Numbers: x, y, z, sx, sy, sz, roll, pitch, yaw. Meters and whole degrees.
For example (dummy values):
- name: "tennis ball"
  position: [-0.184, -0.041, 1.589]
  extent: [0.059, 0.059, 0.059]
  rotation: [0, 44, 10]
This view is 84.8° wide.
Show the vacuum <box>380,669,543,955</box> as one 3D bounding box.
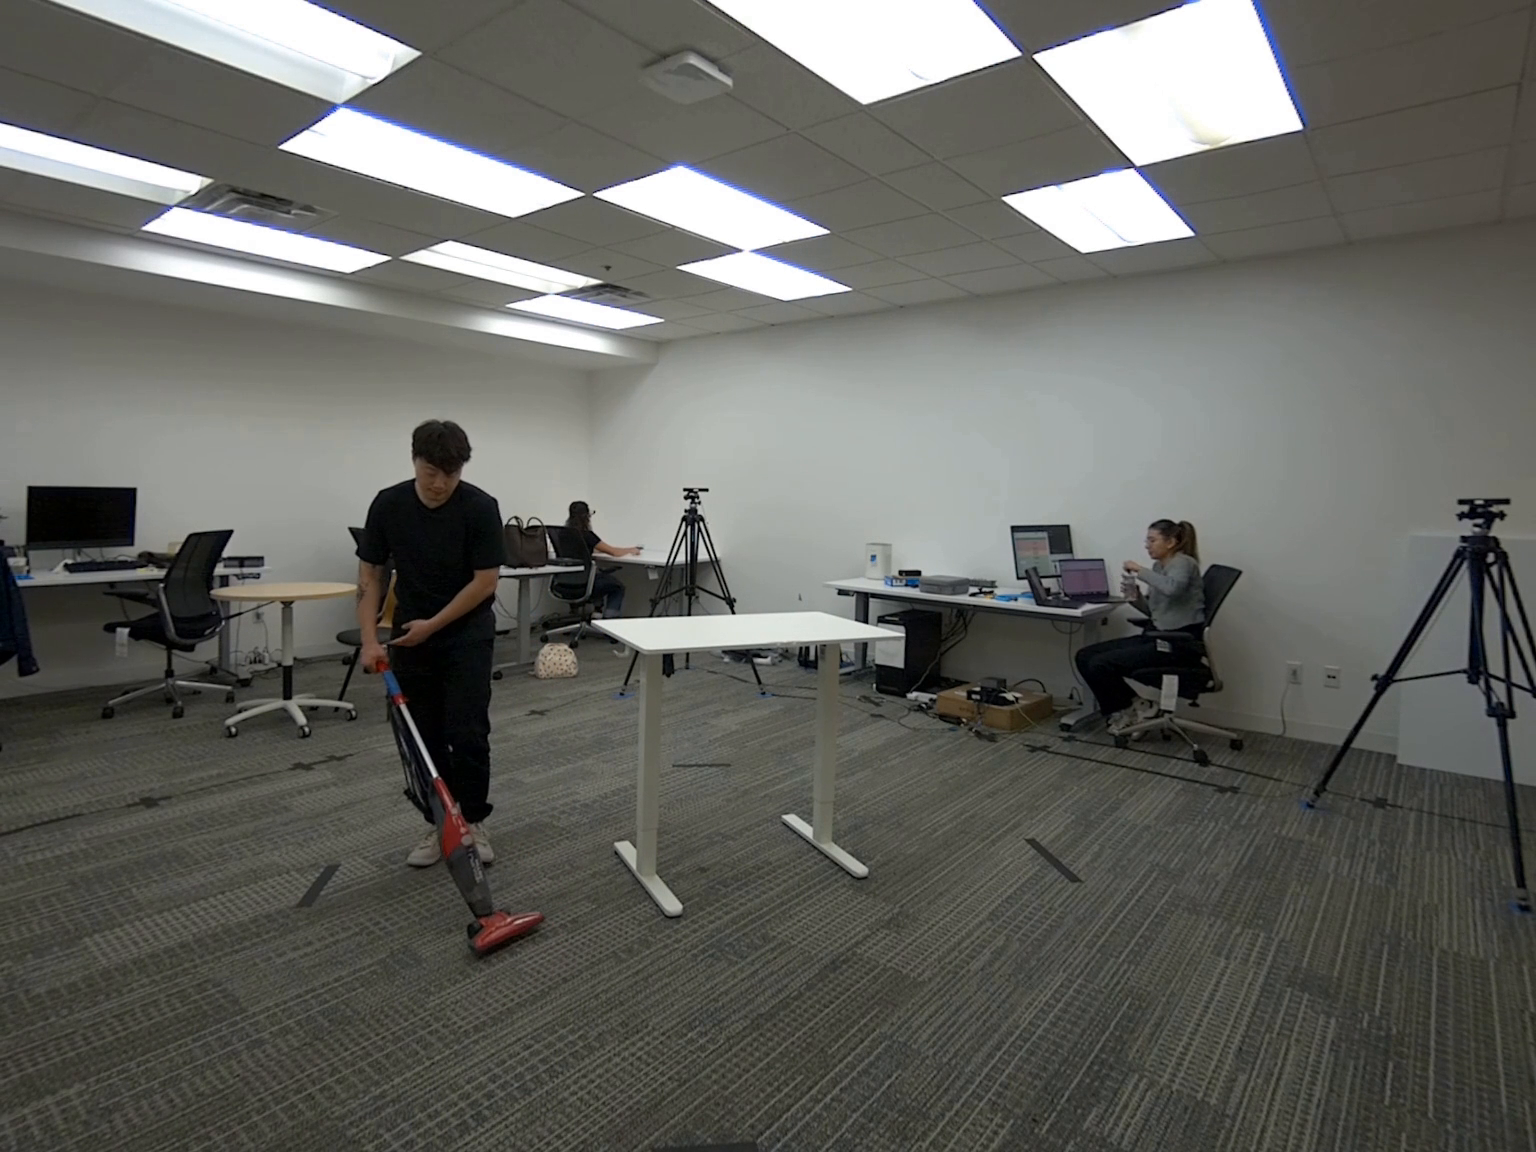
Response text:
- name: "vacuum"
  position: [-1.122, 0.706, 2.811]
  extent: [1.082, 0.144, 0.245]
  rotation: [52, 26, 23]
